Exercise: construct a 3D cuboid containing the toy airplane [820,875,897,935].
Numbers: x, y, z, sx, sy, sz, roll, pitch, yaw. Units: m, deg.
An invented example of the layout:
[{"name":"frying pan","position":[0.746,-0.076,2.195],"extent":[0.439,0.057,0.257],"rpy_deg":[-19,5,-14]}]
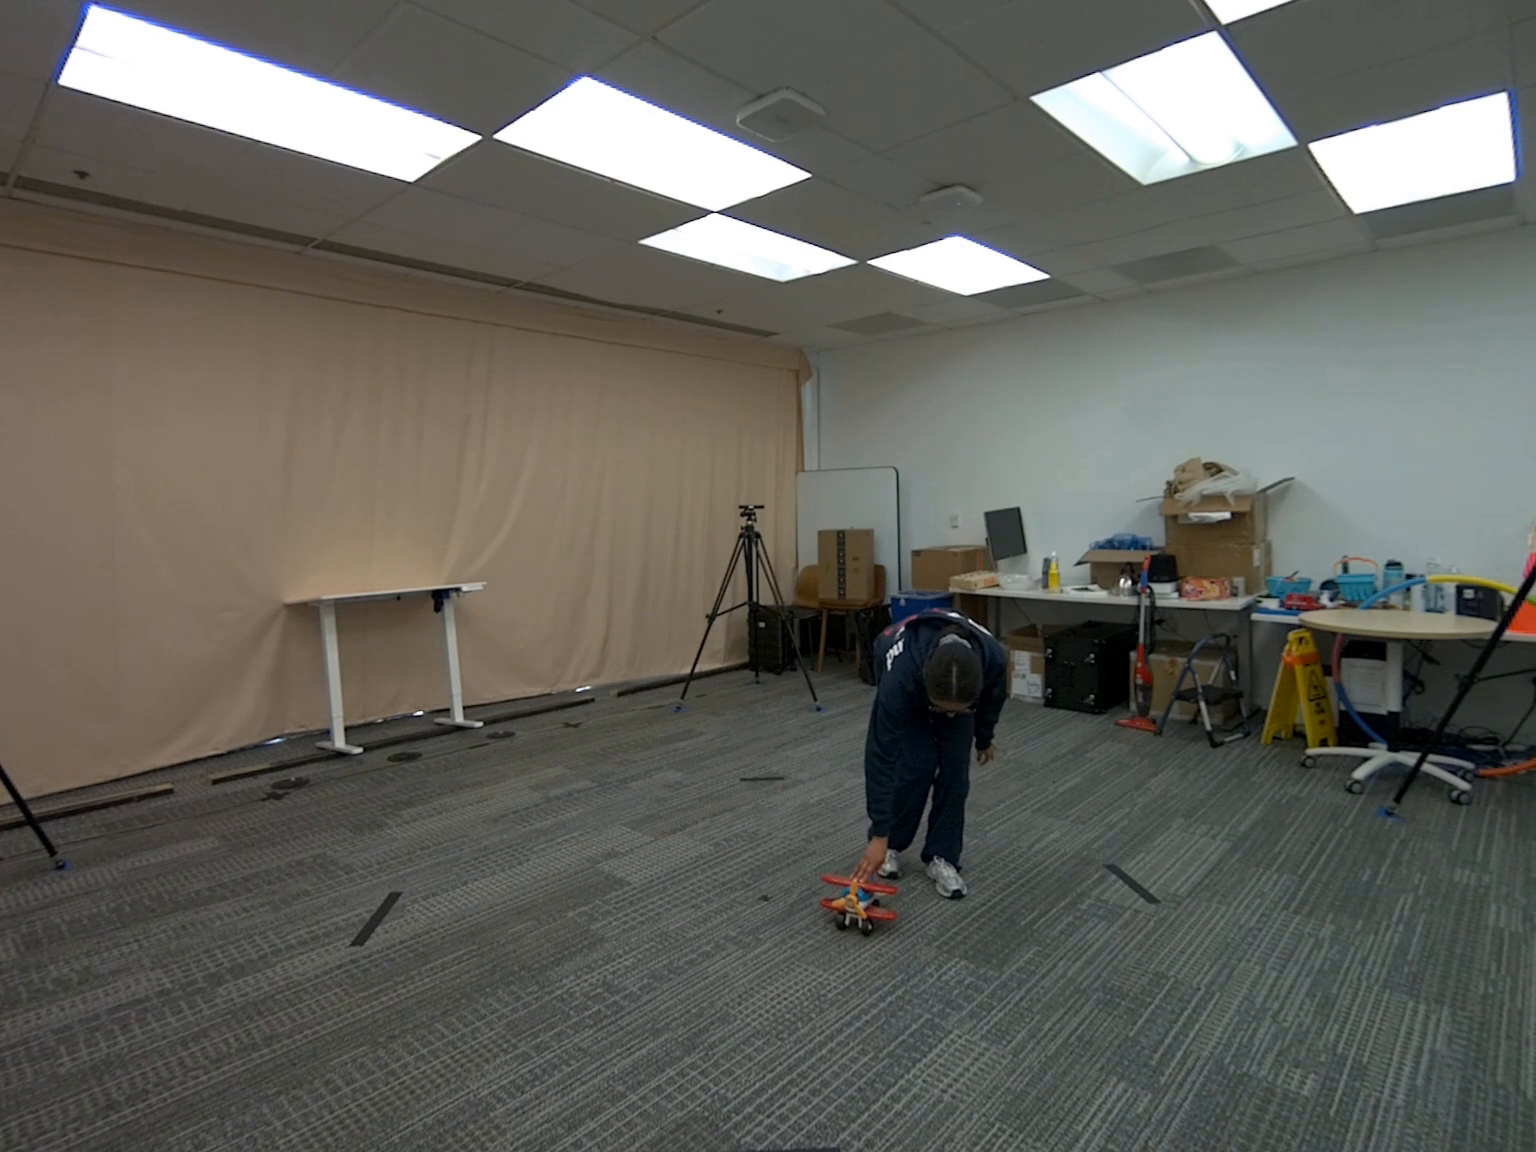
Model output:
[{"name":"toy airplane","position":[0.297,1.080,2.809],"extent":[0.250,0.156,0.261],"rpy_deg":[0,4,-5]}]
